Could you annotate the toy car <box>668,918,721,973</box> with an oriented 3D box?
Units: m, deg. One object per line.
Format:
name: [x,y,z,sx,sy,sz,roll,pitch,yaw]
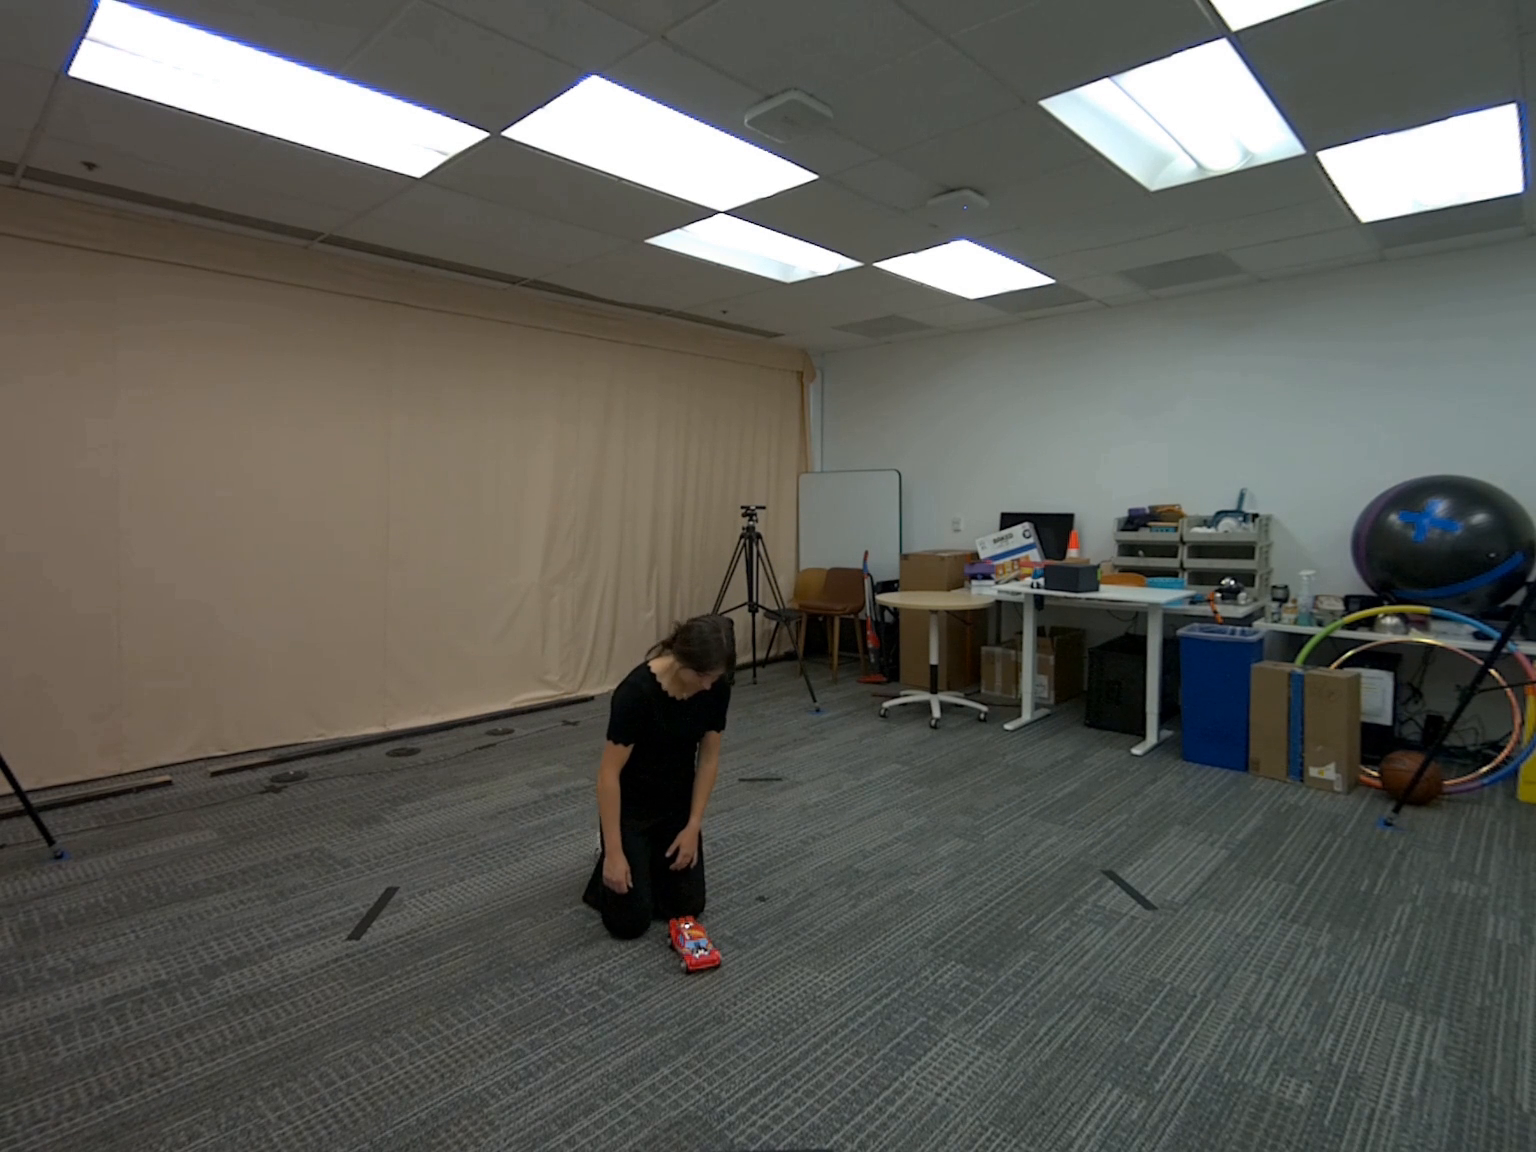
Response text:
toy car: [-0.235,1.144,2.613,0.128,0.082,0.262,-3,15,-21]
